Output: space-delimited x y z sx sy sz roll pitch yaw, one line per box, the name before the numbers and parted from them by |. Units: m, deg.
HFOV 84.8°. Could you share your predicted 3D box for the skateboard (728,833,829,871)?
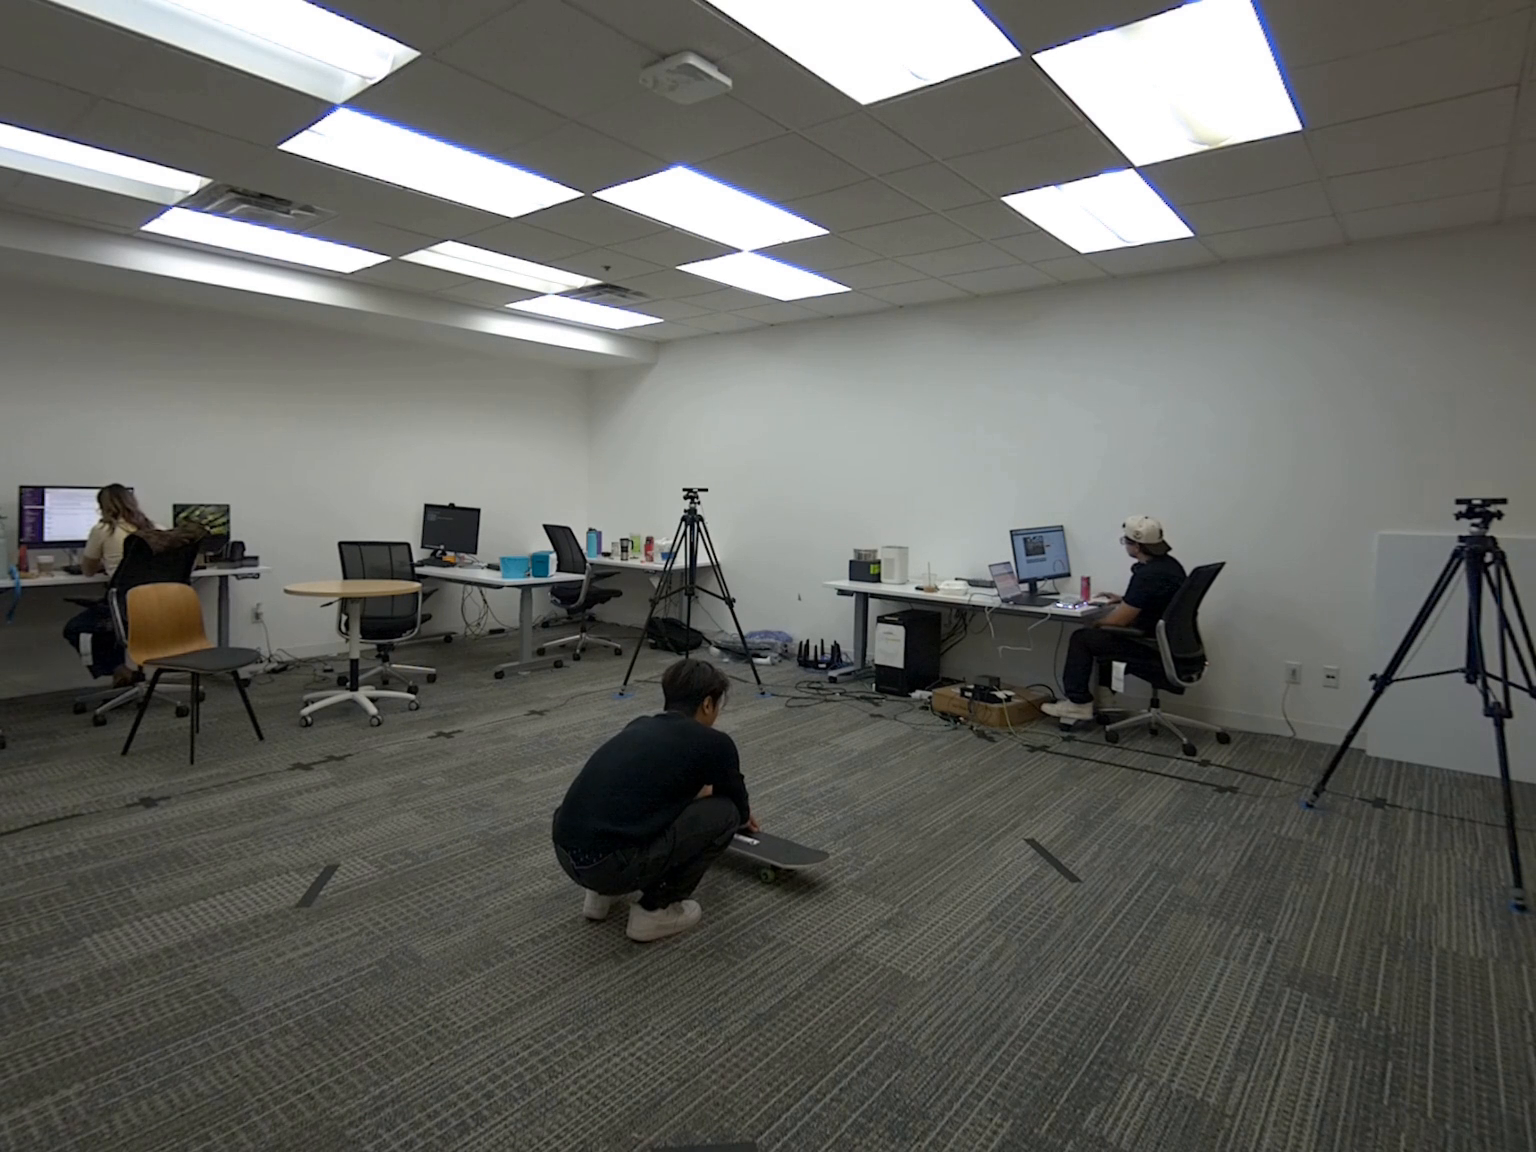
skateboard | -0.131 1.001 3.192 0.811 0.110 0.188 6 7 36
